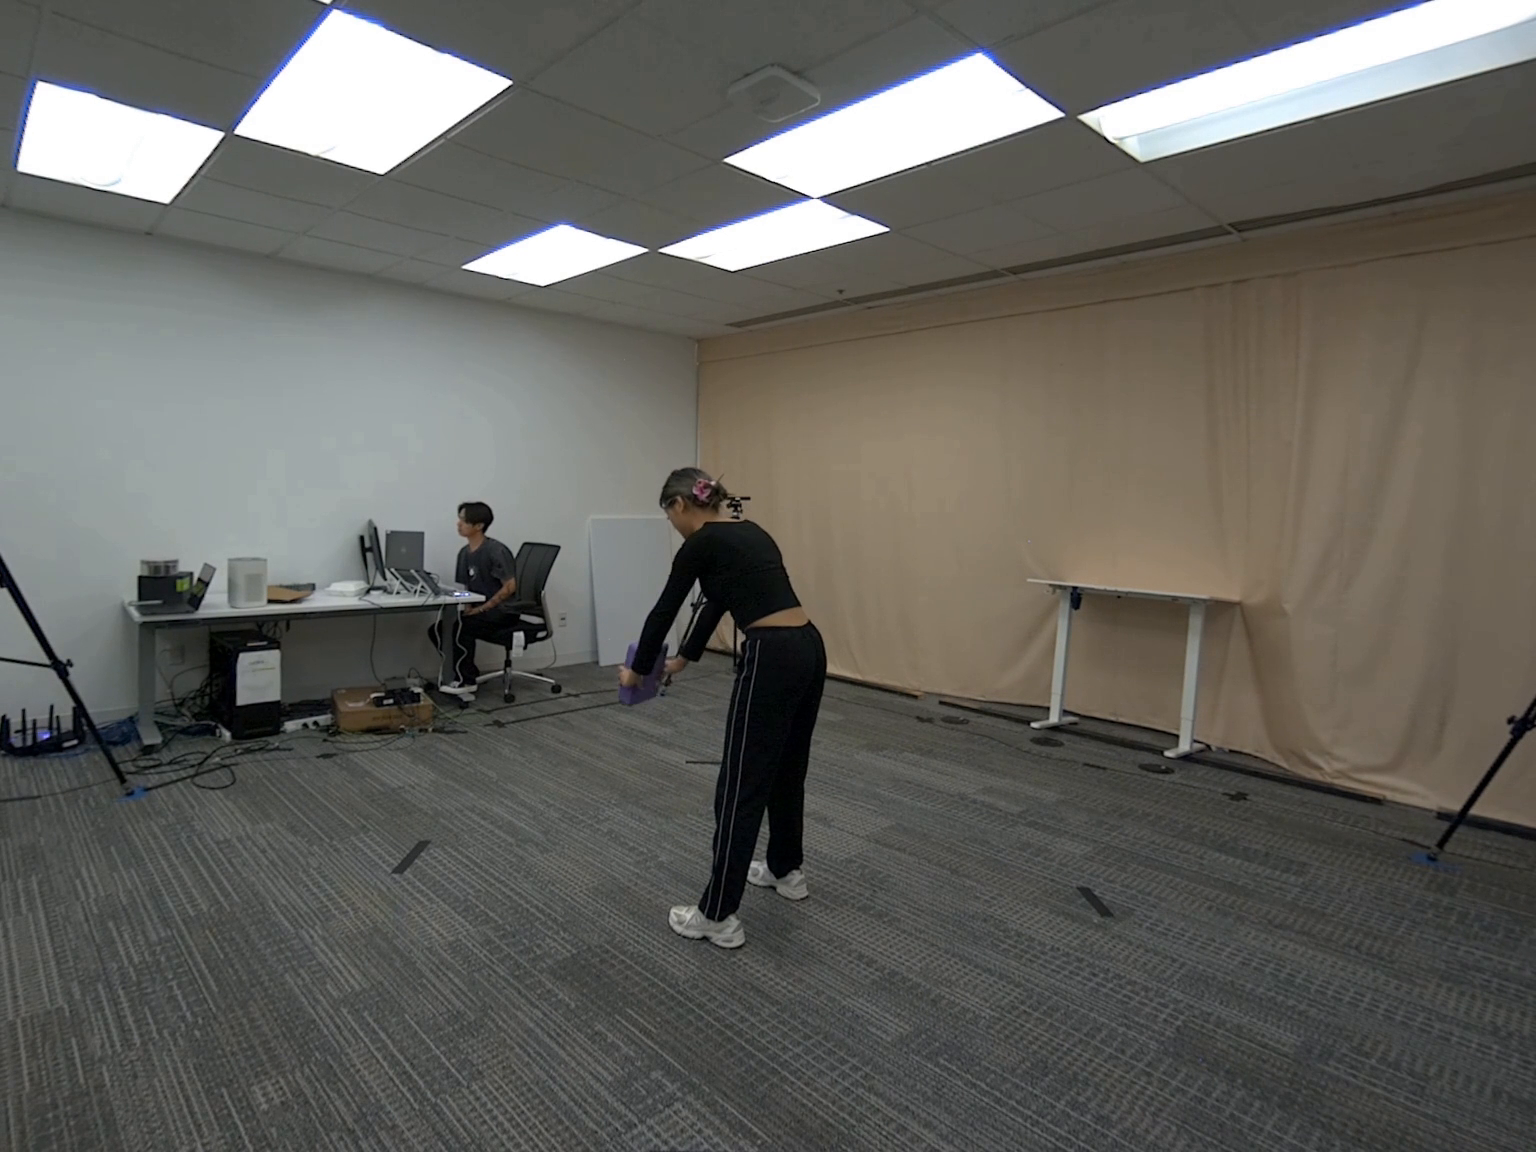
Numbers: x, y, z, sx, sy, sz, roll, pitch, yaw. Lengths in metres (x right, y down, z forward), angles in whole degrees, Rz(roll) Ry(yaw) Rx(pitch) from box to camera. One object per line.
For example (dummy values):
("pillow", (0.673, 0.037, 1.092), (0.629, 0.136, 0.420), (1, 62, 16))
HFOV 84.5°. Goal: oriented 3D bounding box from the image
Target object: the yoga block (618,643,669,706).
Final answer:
("yoga block", (-0.452, 0.342, 3.048), (0.078, 0.227, 0.146), (25, 22, 27))
